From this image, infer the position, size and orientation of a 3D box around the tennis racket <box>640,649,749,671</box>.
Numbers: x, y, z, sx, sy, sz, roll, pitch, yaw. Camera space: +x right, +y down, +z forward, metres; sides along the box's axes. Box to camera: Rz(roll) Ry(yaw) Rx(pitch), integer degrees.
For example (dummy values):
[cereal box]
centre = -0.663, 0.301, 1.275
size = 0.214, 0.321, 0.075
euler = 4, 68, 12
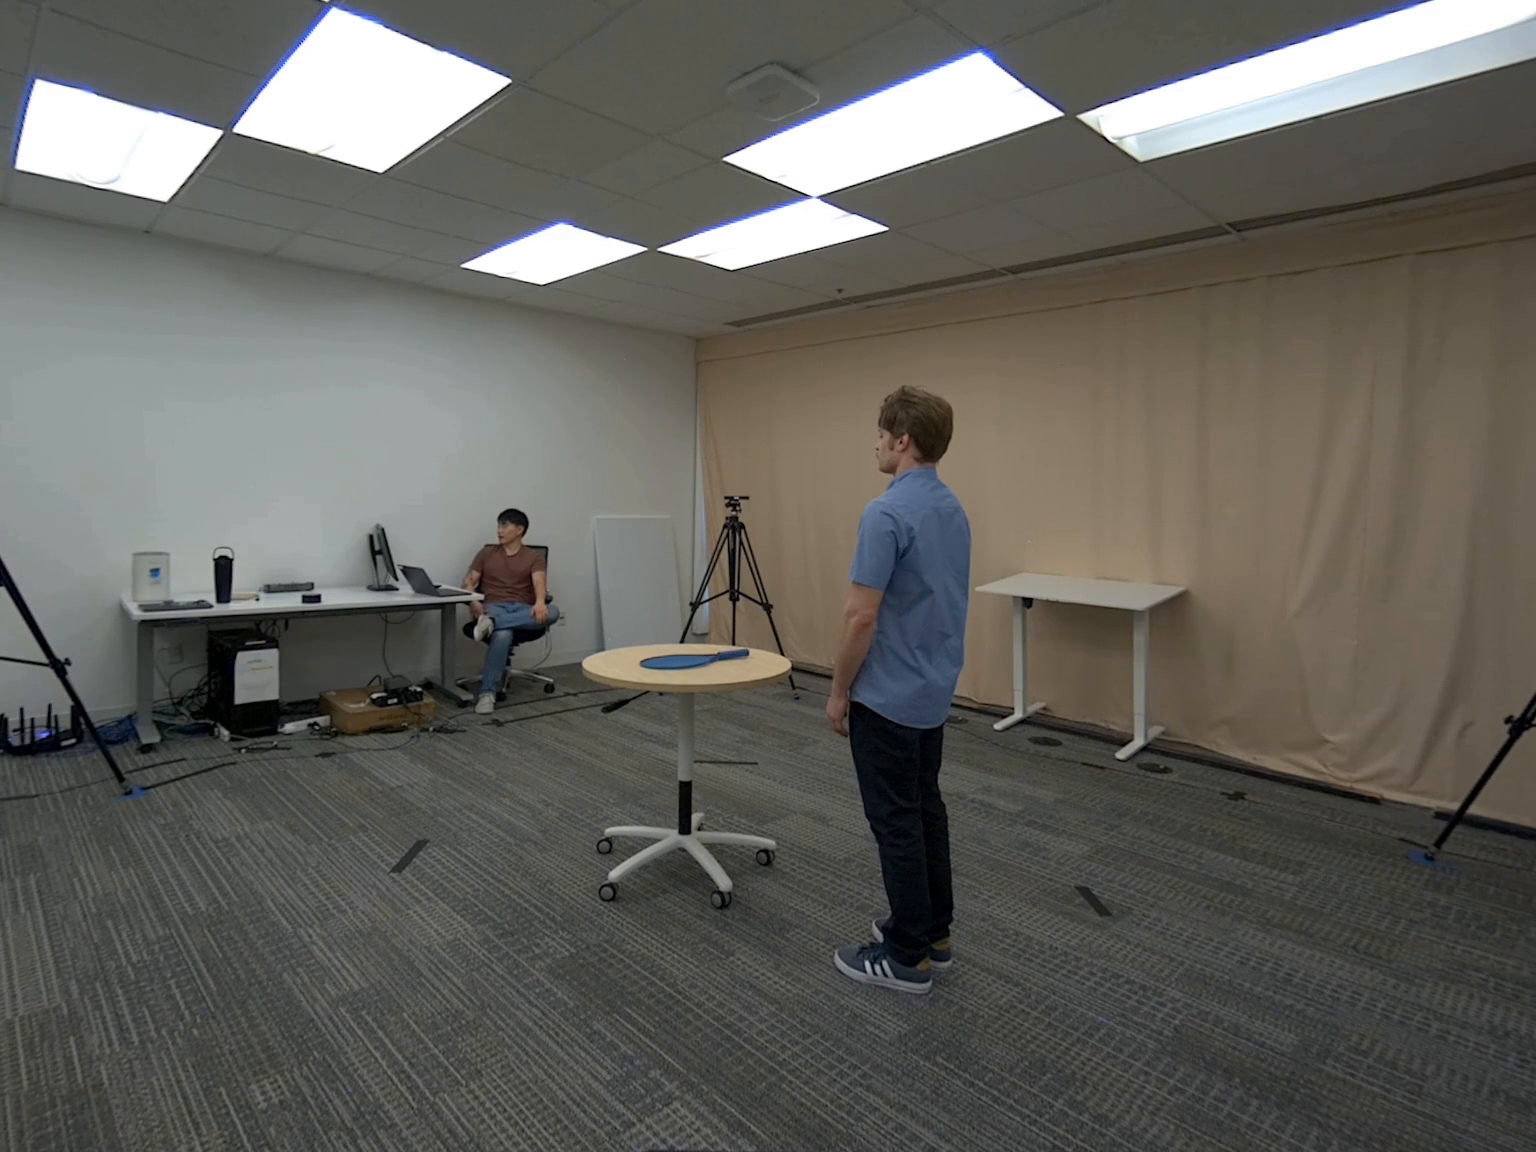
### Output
[tennis racket]
centre = -0.273, 0.311, 3.091
size = 0.425, 0.031, 0.218
euler = -4, 6, -29
